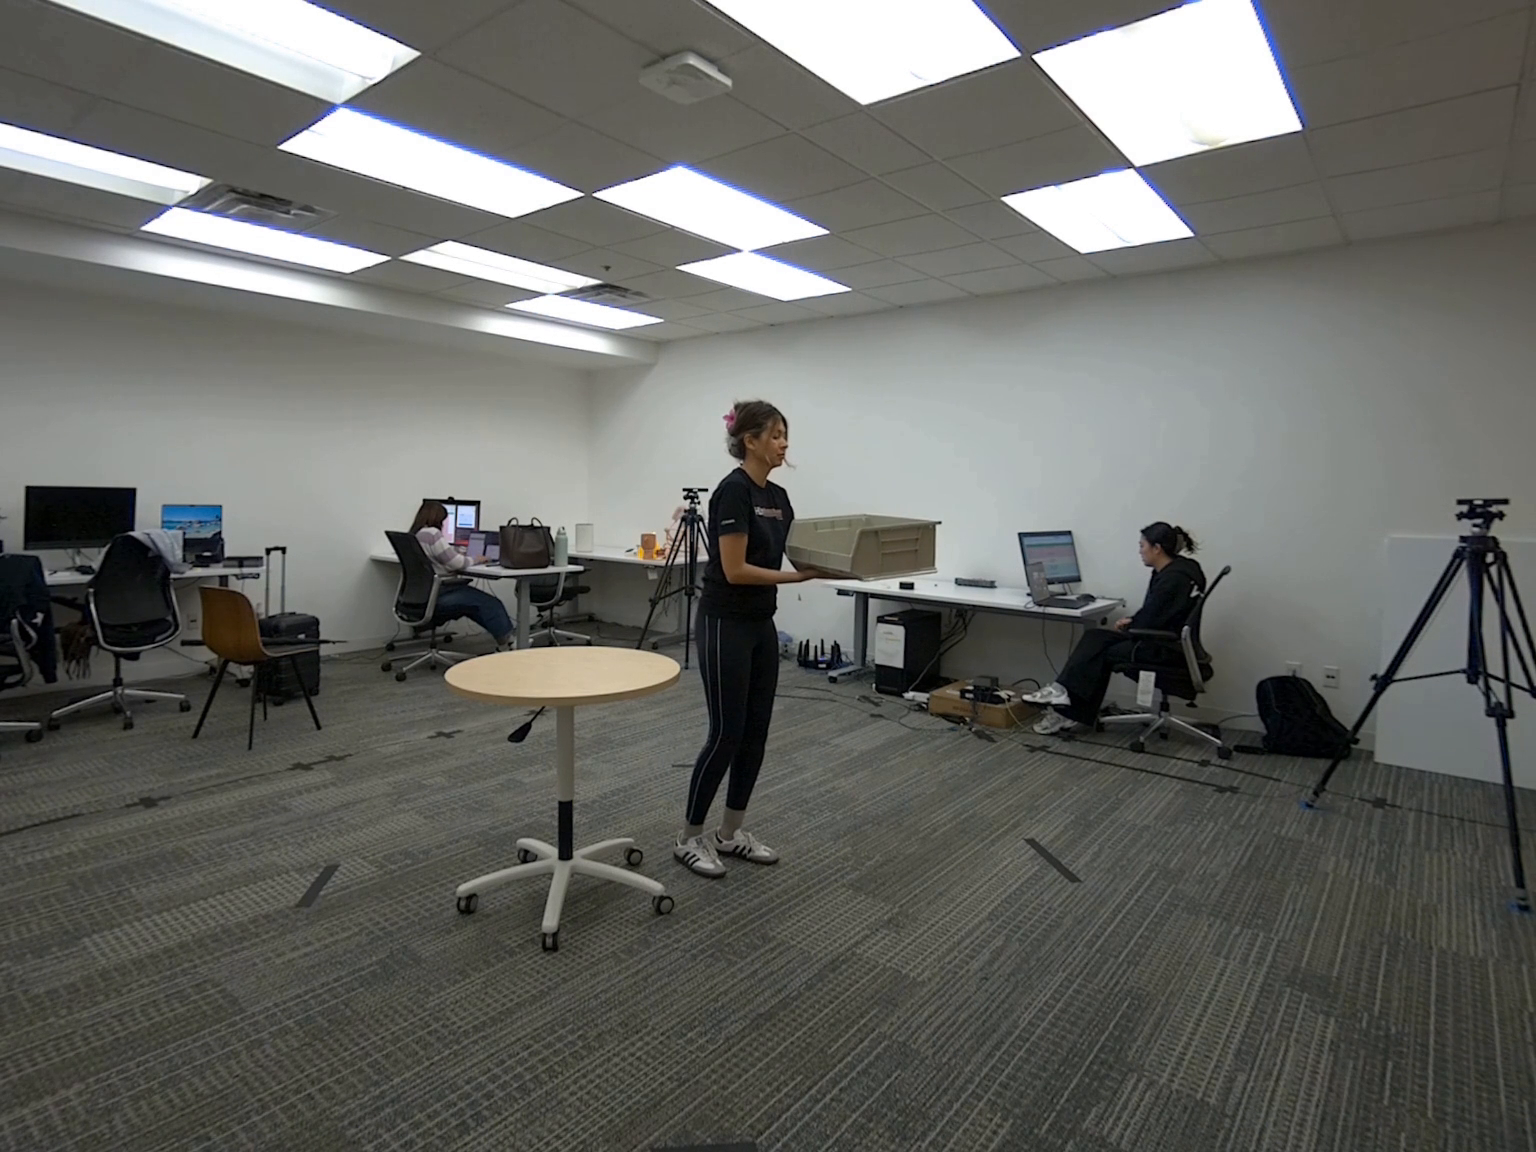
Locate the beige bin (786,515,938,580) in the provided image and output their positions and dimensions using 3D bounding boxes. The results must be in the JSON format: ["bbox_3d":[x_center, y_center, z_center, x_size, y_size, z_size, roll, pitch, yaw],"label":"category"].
[{"bbox_3d":[0.317,-0.108,3.026,0.368,0.188,0.435,-5,9,-28],"label":"beige bin"}]
